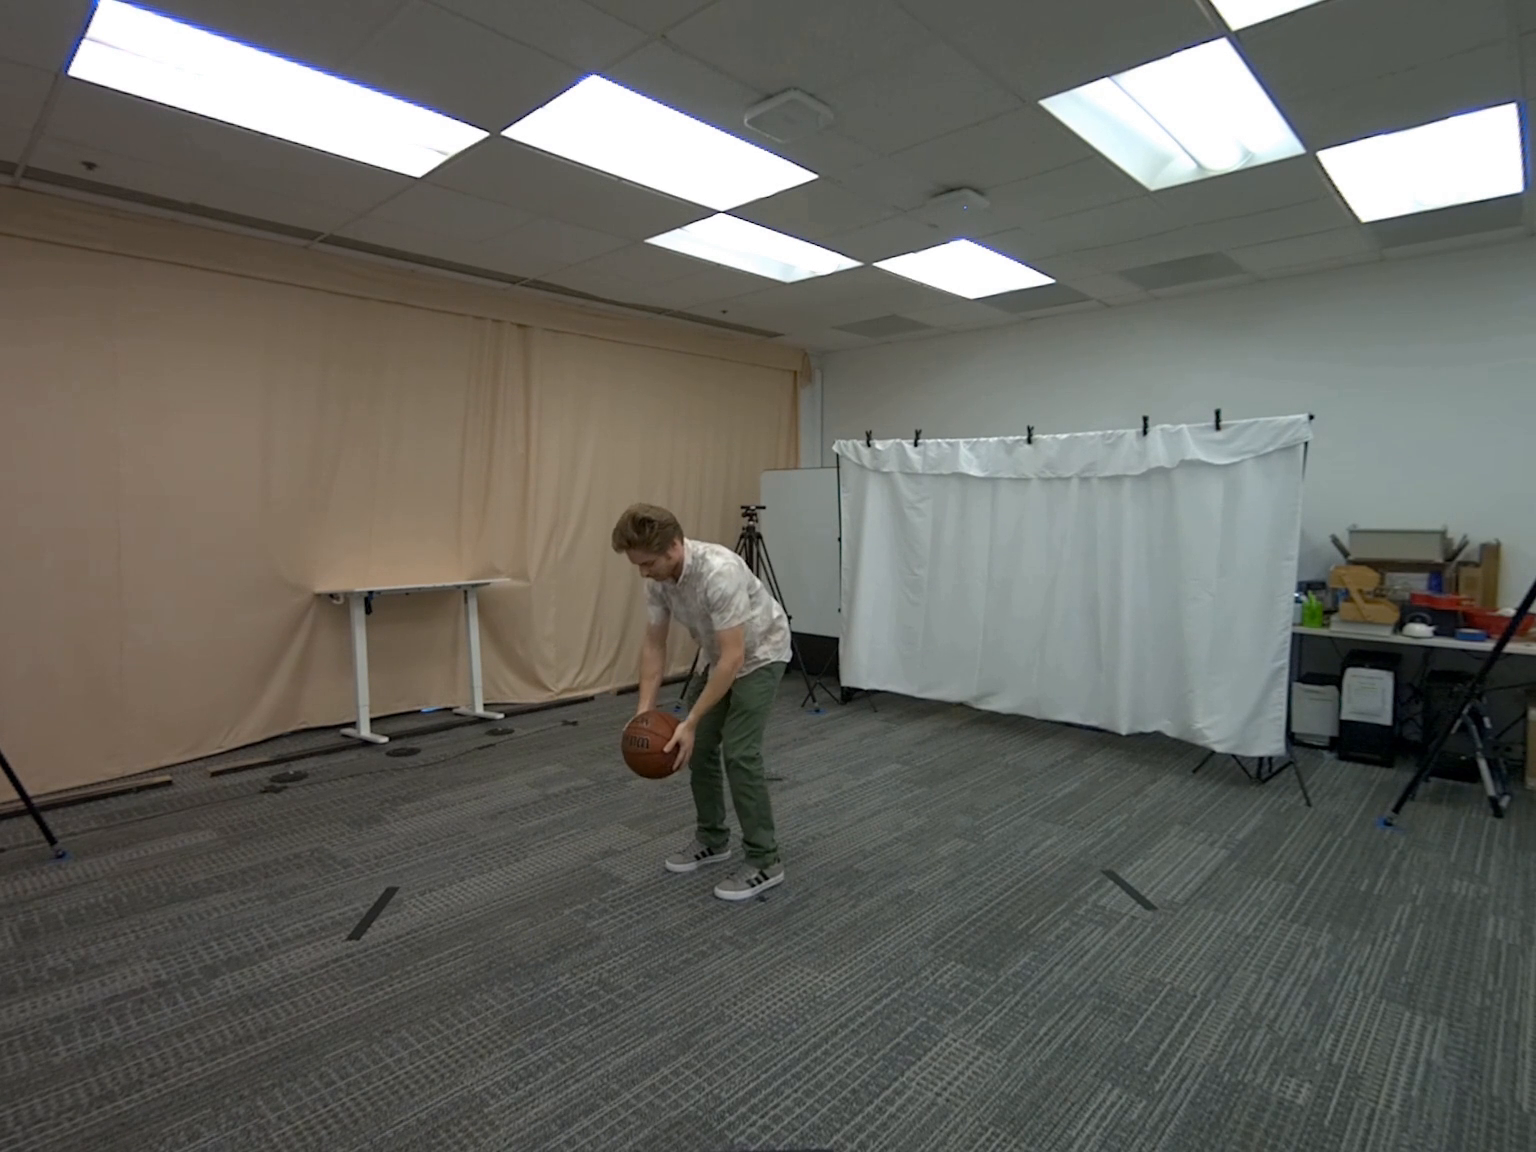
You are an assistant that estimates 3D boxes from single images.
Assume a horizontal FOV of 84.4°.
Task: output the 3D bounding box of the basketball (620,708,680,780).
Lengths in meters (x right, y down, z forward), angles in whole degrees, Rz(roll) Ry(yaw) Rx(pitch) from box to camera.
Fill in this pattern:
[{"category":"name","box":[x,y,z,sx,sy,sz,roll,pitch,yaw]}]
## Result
[{"category":"basketball","box":[-0.401,0.588,2.985,0.236,0.235,0.237,0,4,-2]}]
